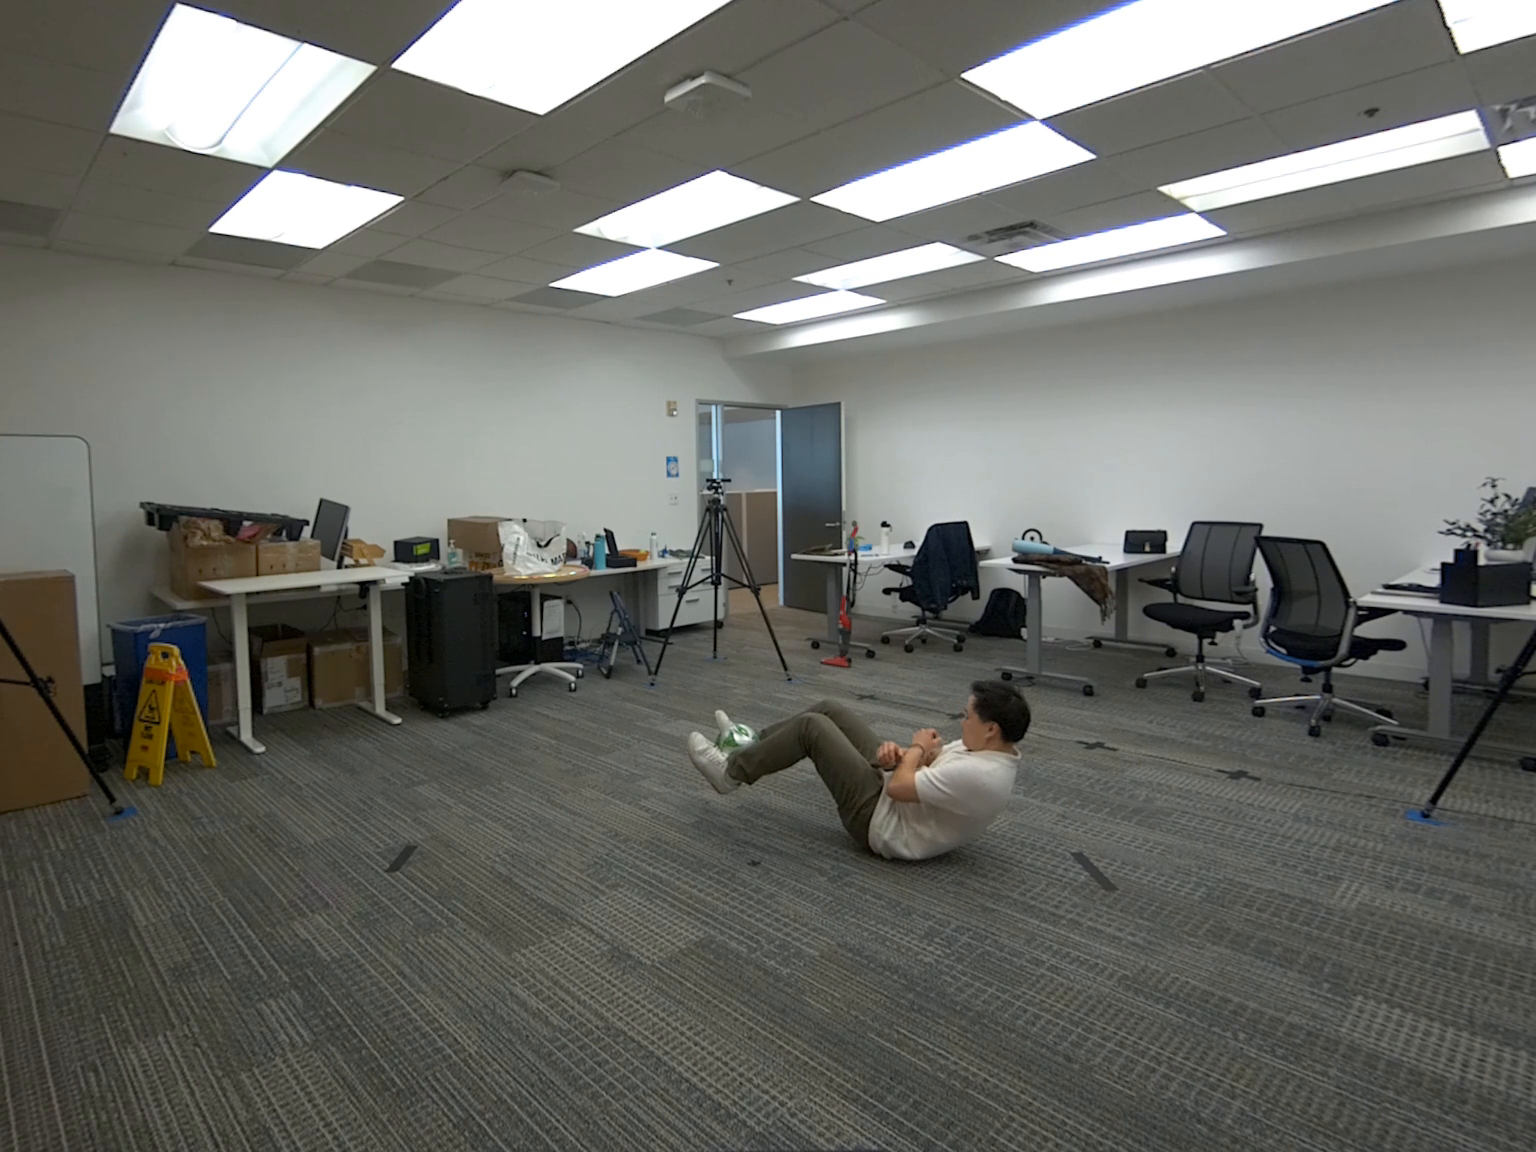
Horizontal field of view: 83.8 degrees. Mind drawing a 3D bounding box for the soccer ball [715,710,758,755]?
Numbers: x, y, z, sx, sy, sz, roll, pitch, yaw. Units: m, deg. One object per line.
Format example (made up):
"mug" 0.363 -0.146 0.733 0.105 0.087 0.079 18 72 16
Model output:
"soccer ball" -0.112 0.703 3.495 0.187 0.187 0.188 -1 5 -2
